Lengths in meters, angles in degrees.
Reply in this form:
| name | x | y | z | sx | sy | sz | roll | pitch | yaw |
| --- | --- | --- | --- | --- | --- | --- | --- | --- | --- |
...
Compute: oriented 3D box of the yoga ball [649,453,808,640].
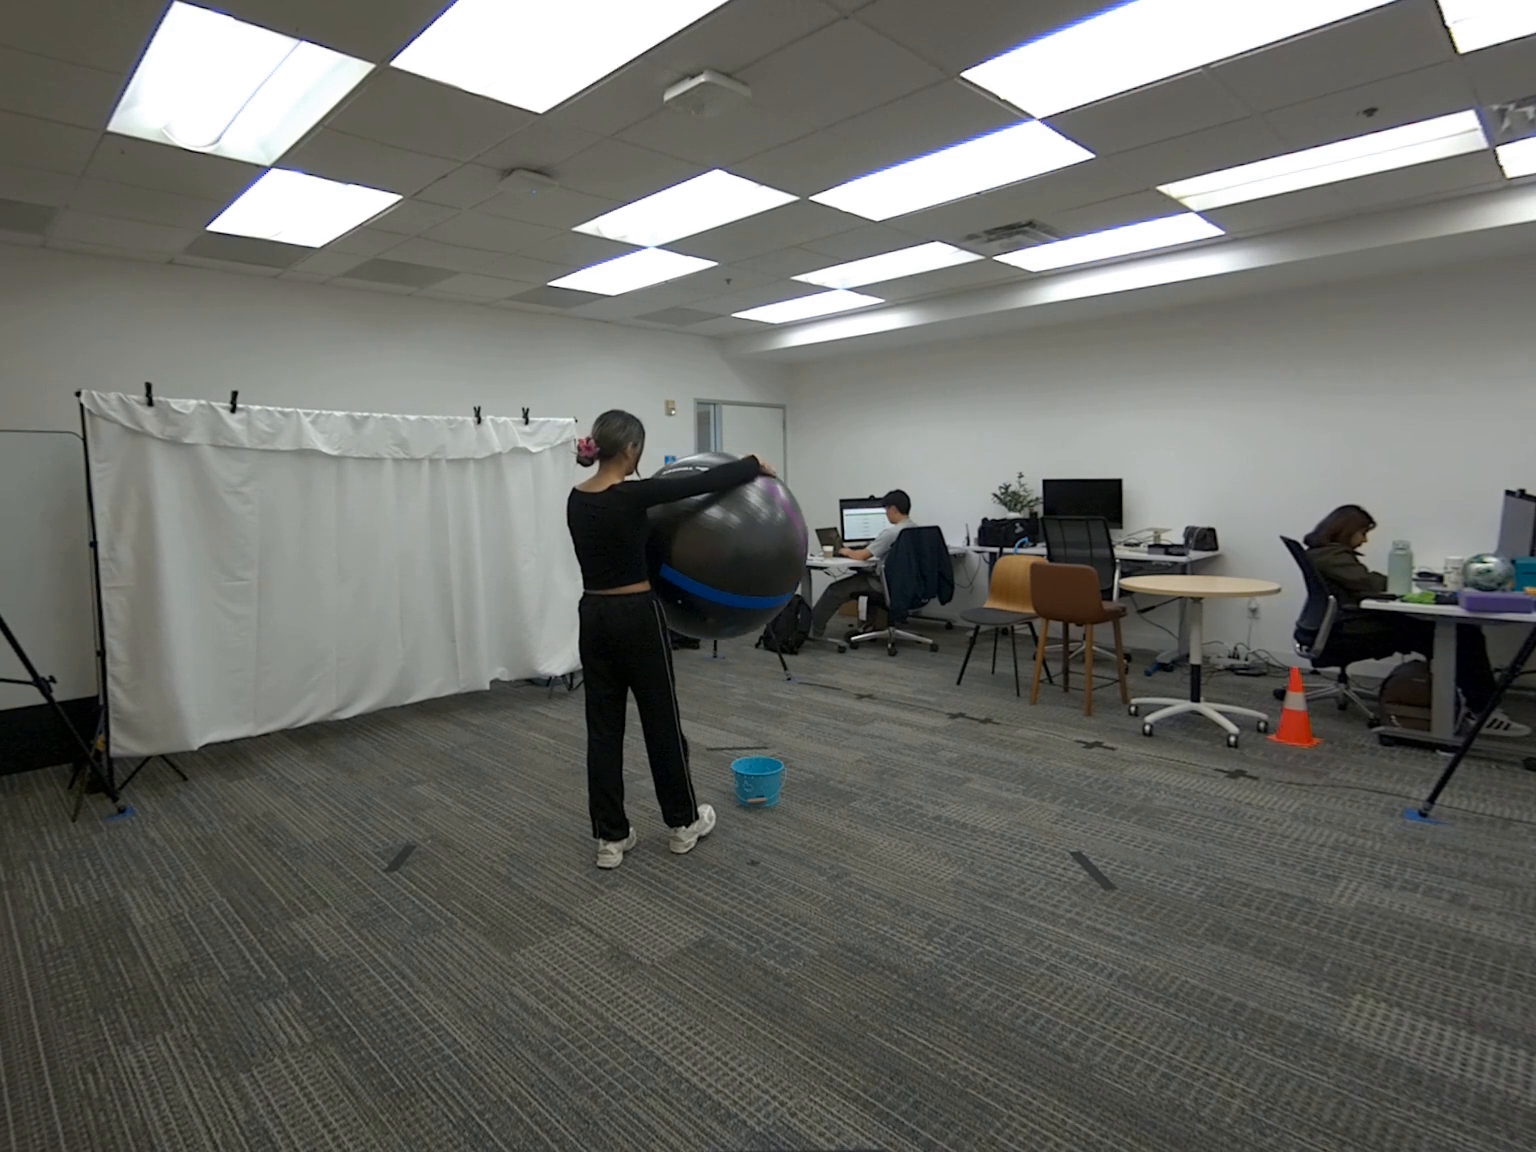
| name | x | y | z | sx | sy | sz | roll | pitch | yaw |
| --- | --- | --- | --- | --- | --- | --- | --- | --- | --- |
| yoga ball | -0.218 | -0.122 | 3.478 | 0.757 | 0.755 | 0.762 | -1 | 5 | -2 |
